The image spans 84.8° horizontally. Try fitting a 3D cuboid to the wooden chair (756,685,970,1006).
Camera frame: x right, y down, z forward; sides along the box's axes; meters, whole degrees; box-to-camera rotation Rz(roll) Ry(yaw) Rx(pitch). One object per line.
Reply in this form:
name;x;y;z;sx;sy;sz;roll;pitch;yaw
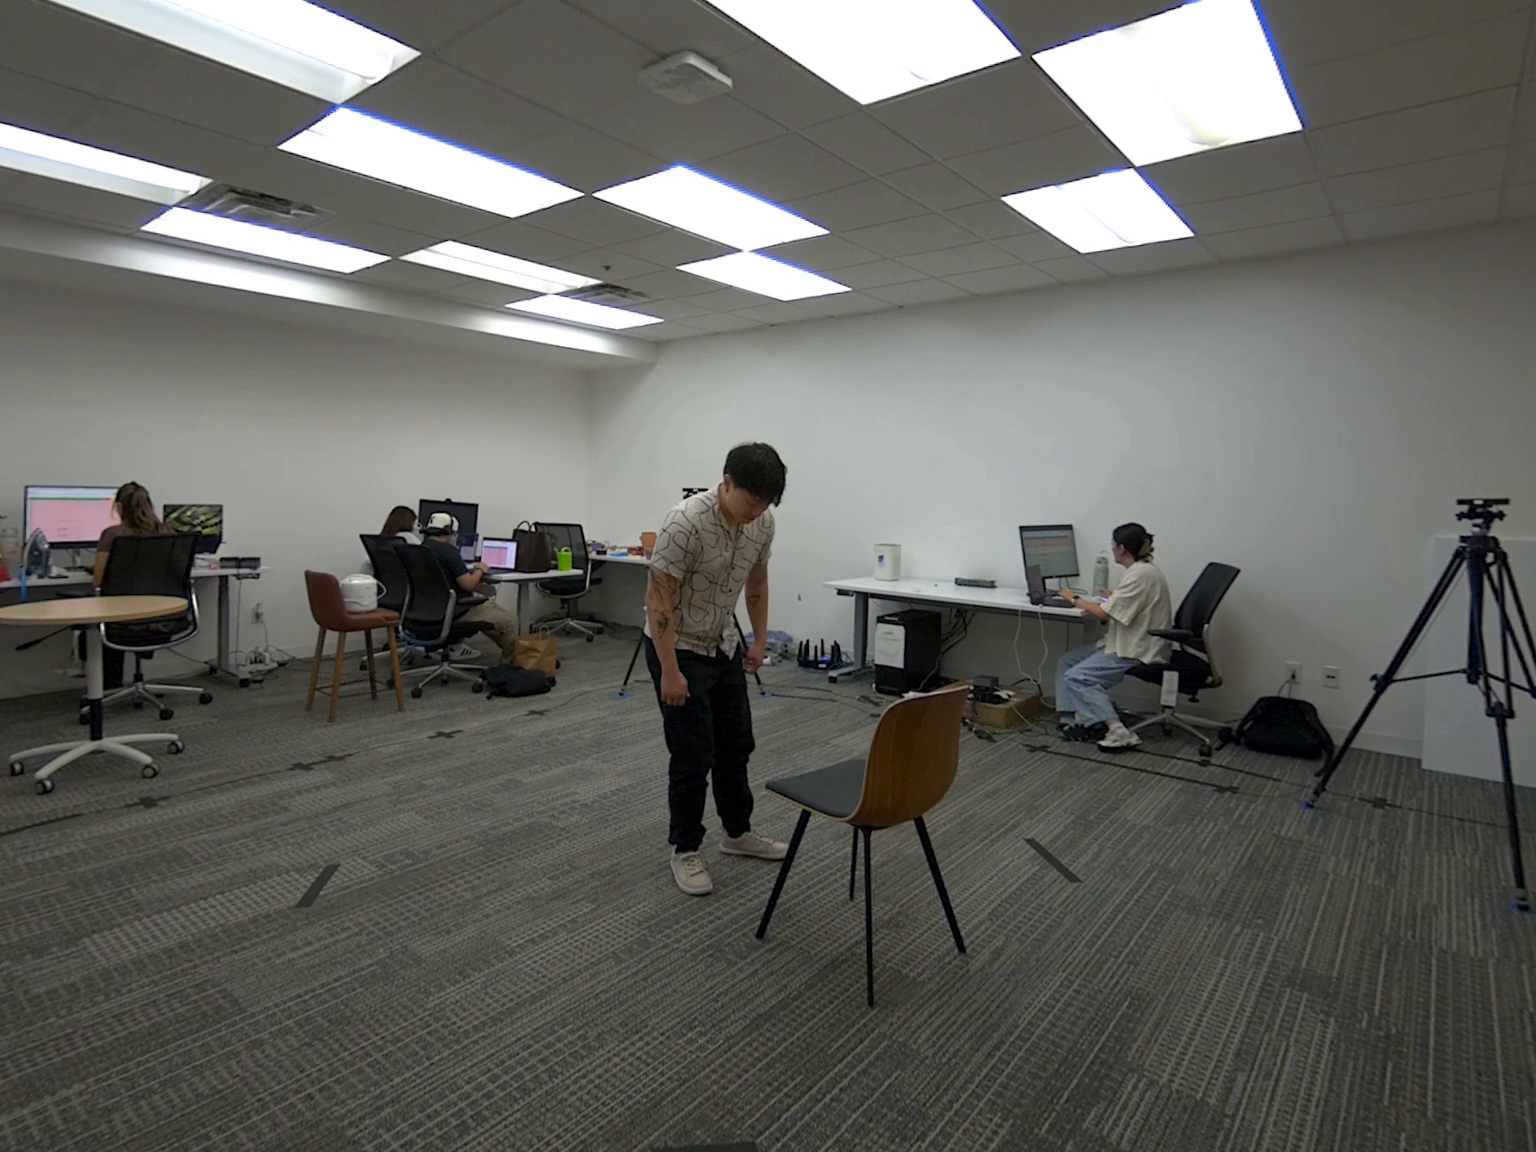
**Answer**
wooden chair;0.281;0.704;2.587;0.463;0.872;0.542;-2;9;-42
